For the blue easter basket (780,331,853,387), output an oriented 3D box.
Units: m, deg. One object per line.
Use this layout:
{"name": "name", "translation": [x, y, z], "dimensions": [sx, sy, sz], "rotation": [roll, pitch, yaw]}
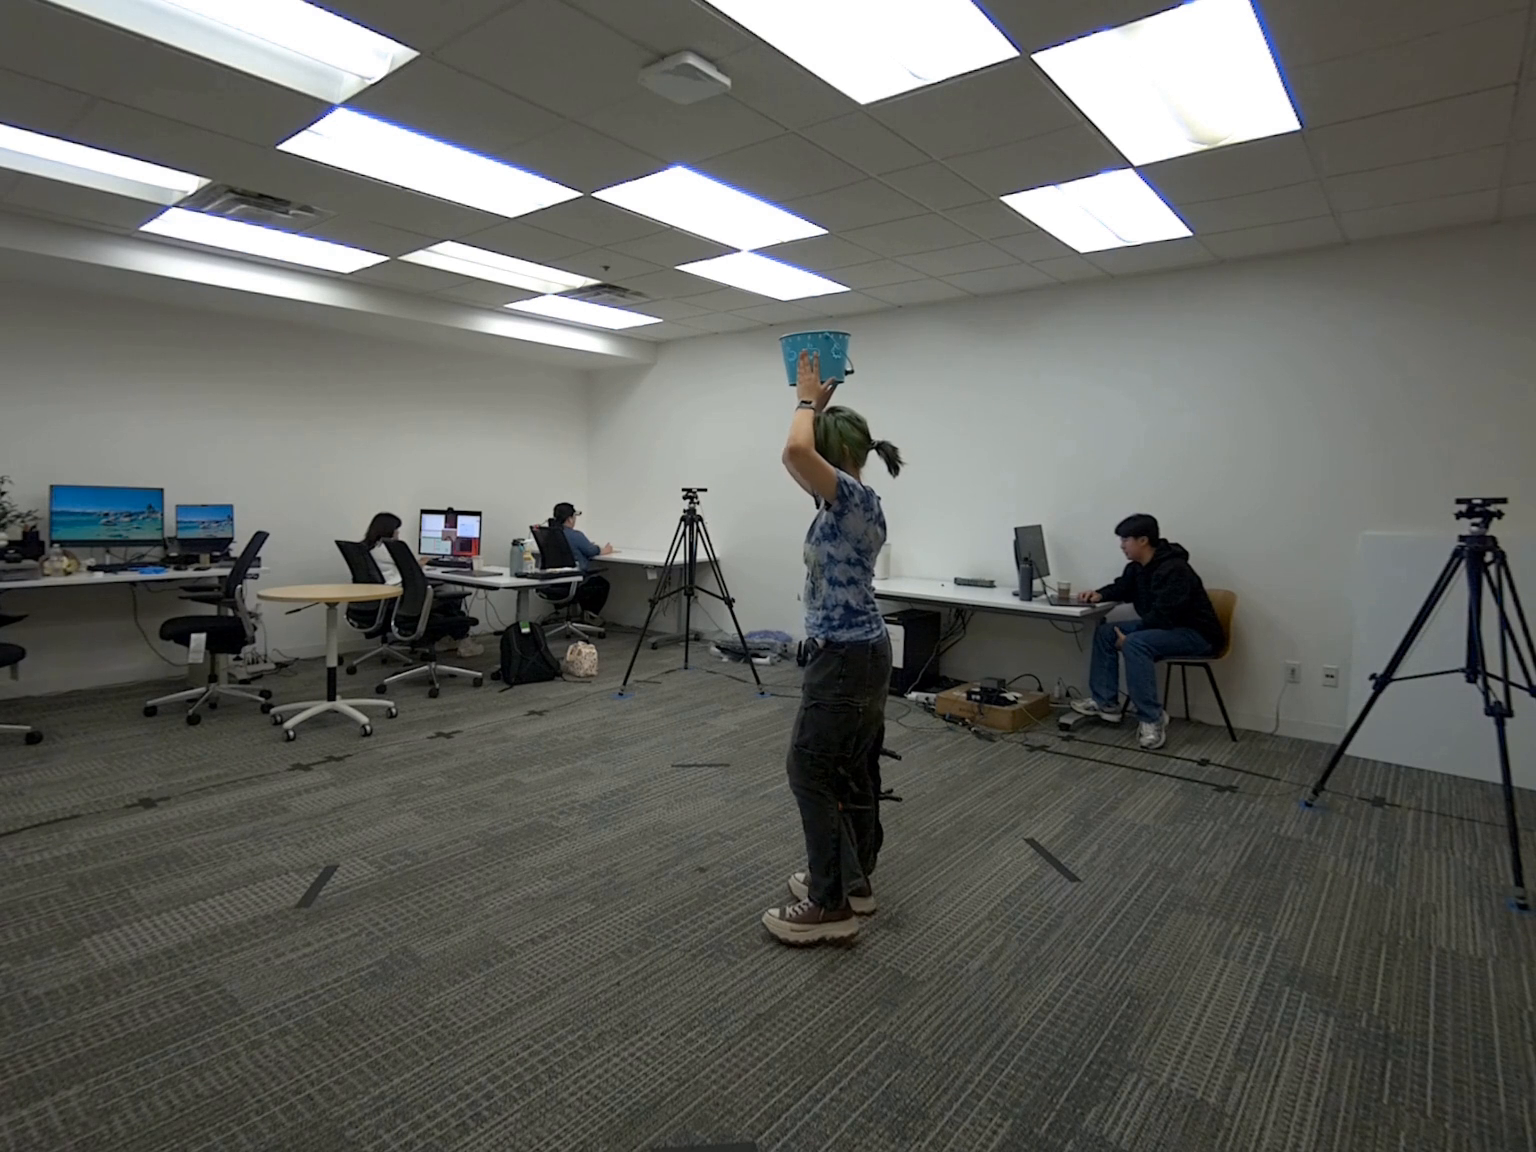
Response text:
{"name": "blue easter basket", "translation": [0.158, -0.700, 2.746], "dimensions": [0.243, 0.155, 0.245], "rotation": [-2, 7, -2]}
